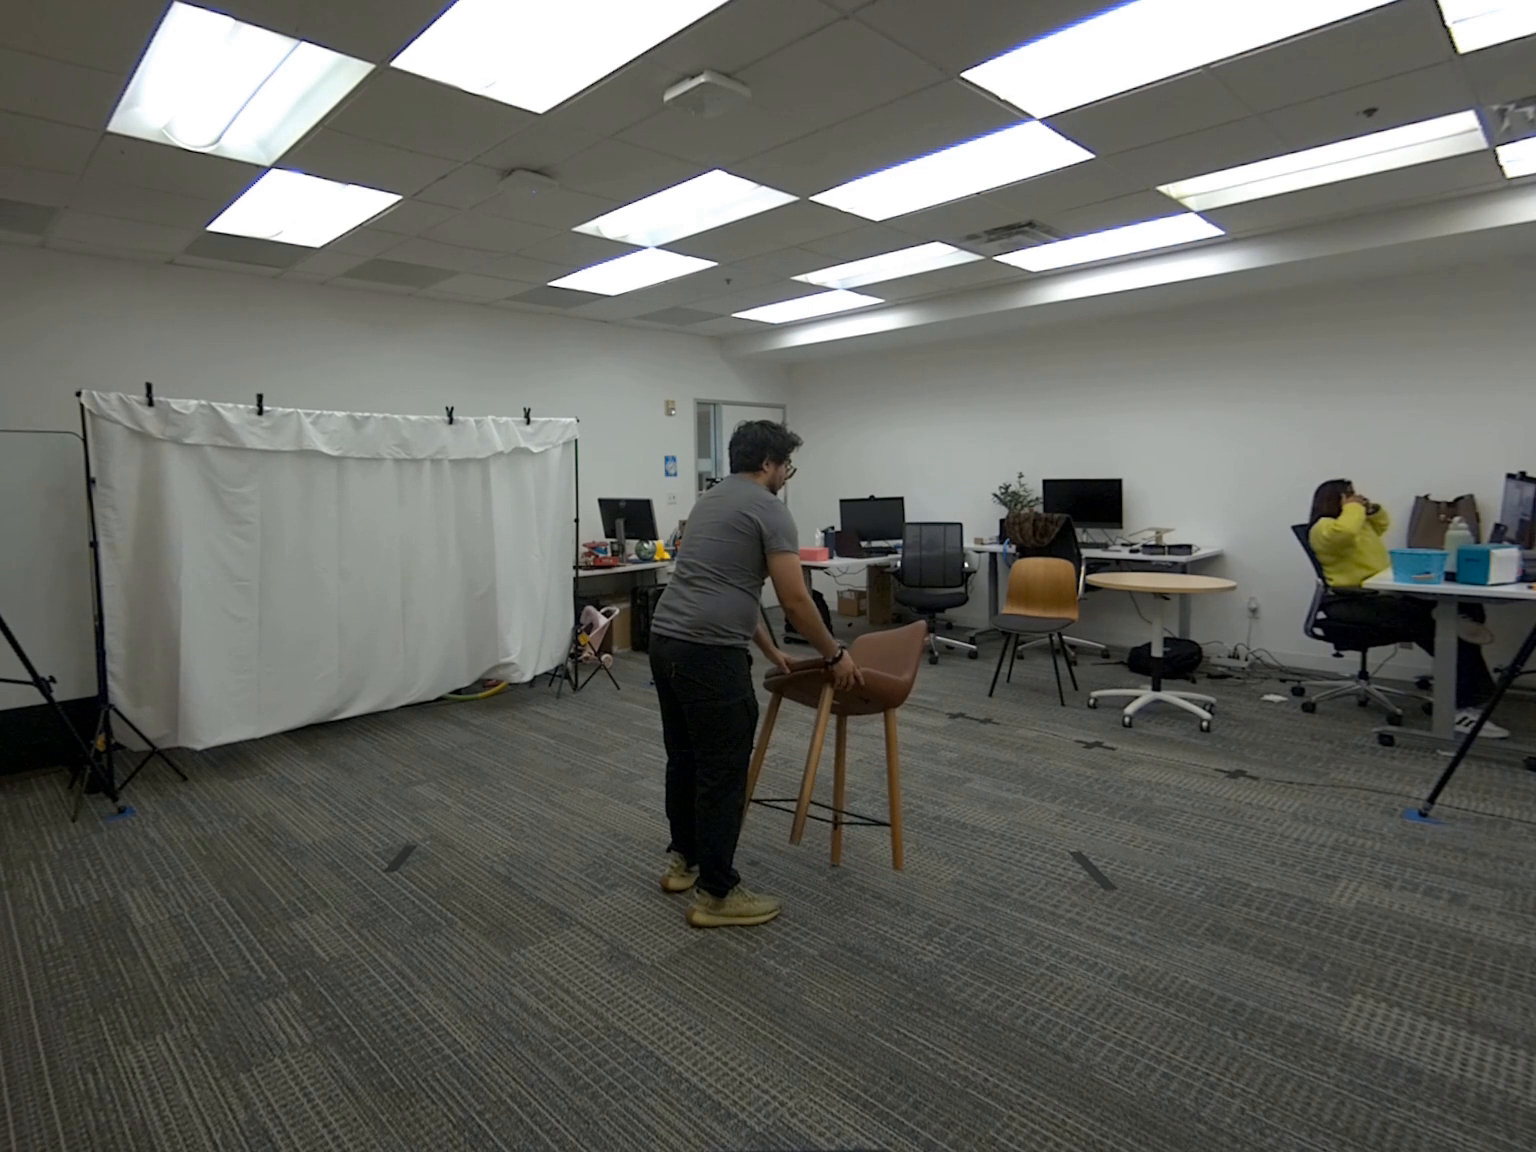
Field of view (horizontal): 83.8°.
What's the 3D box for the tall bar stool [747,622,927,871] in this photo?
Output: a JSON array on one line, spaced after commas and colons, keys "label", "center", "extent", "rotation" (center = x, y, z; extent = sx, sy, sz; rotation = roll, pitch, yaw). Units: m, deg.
[{"label": "tall bar stool", "center": [0.237, 0.533, 3.022], "extent": [0.455, 0.903, 0.462], "rotation": [23, -25, -24]}]
